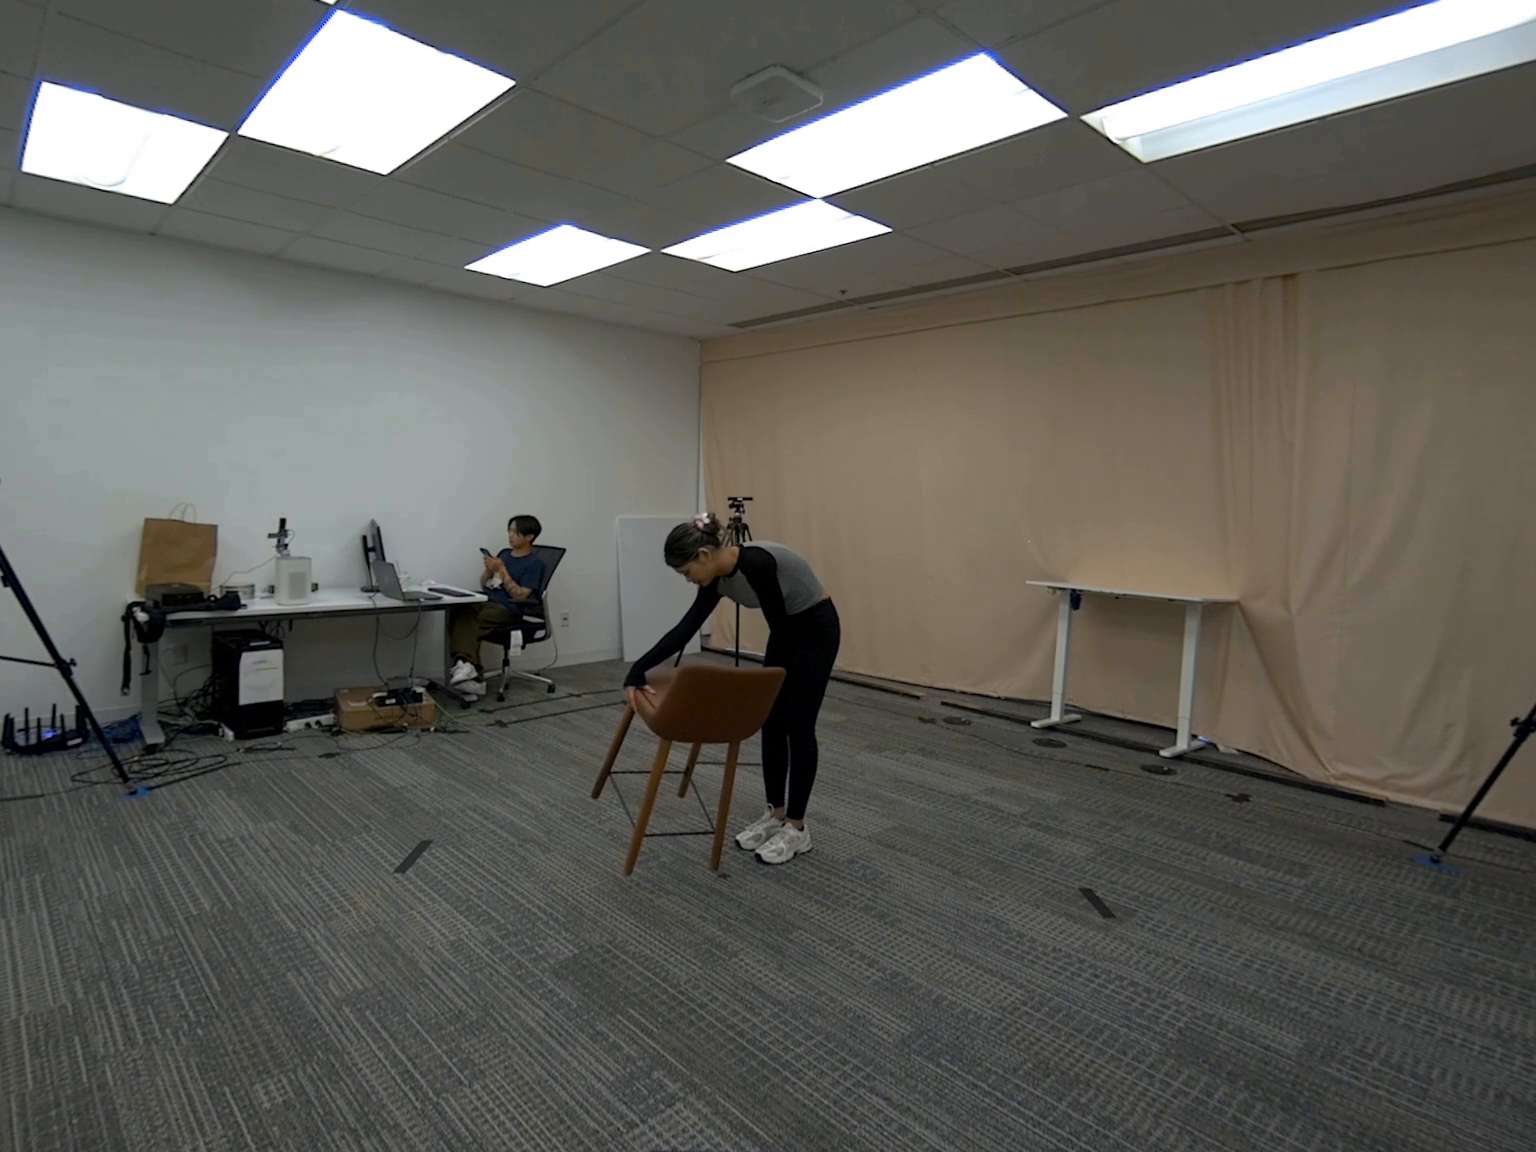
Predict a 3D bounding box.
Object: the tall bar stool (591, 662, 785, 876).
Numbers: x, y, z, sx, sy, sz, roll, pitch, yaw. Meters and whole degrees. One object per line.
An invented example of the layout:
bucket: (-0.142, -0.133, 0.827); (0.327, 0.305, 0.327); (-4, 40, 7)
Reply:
tall bar stool: (-0.320, 0.608, 3.120); (0.447, 0.882, 0.482); (7, 21, -28)
